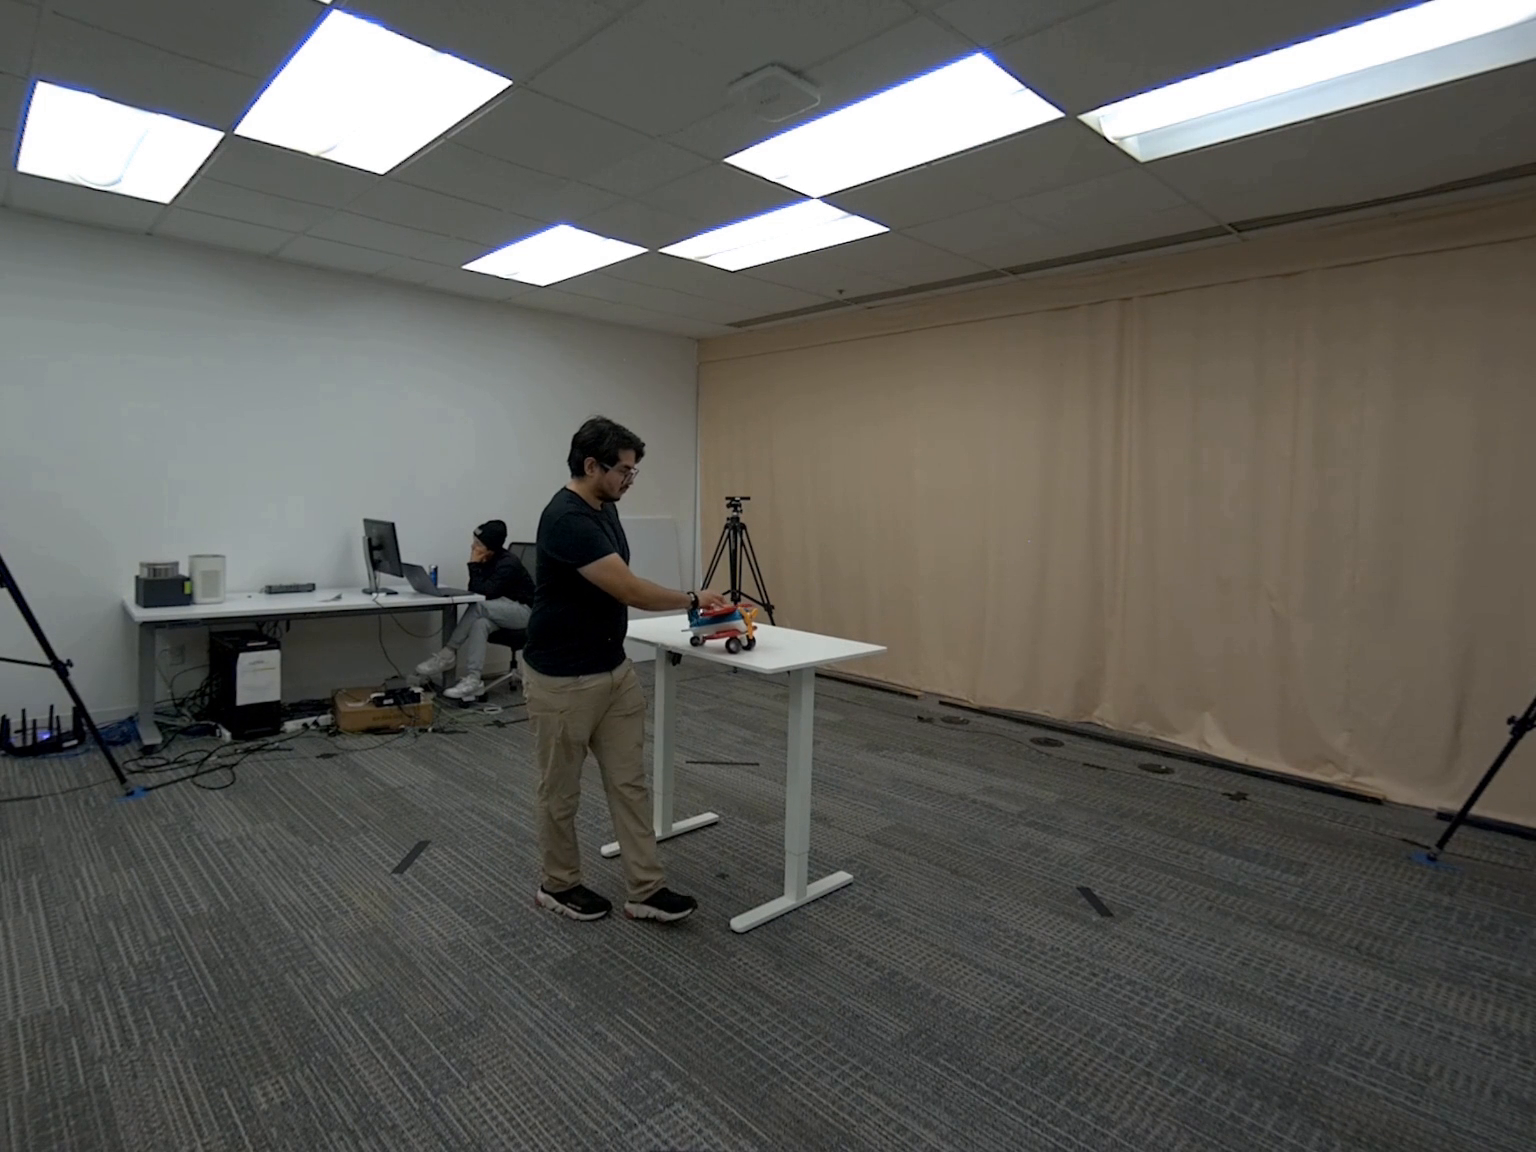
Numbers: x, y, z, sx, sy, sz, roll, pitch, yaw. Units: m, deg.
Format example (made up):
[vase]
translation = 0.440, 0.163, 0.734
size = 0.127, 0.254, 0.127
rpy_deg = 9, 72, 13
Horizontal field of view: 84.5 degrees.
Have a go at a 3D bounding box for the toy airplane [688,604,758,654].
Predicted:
[toy airplane]
translation = -0.176, 0.173, 2.828
size = 0.260, 0.156, 0.251
rpy_deg = 2, 5, 4
